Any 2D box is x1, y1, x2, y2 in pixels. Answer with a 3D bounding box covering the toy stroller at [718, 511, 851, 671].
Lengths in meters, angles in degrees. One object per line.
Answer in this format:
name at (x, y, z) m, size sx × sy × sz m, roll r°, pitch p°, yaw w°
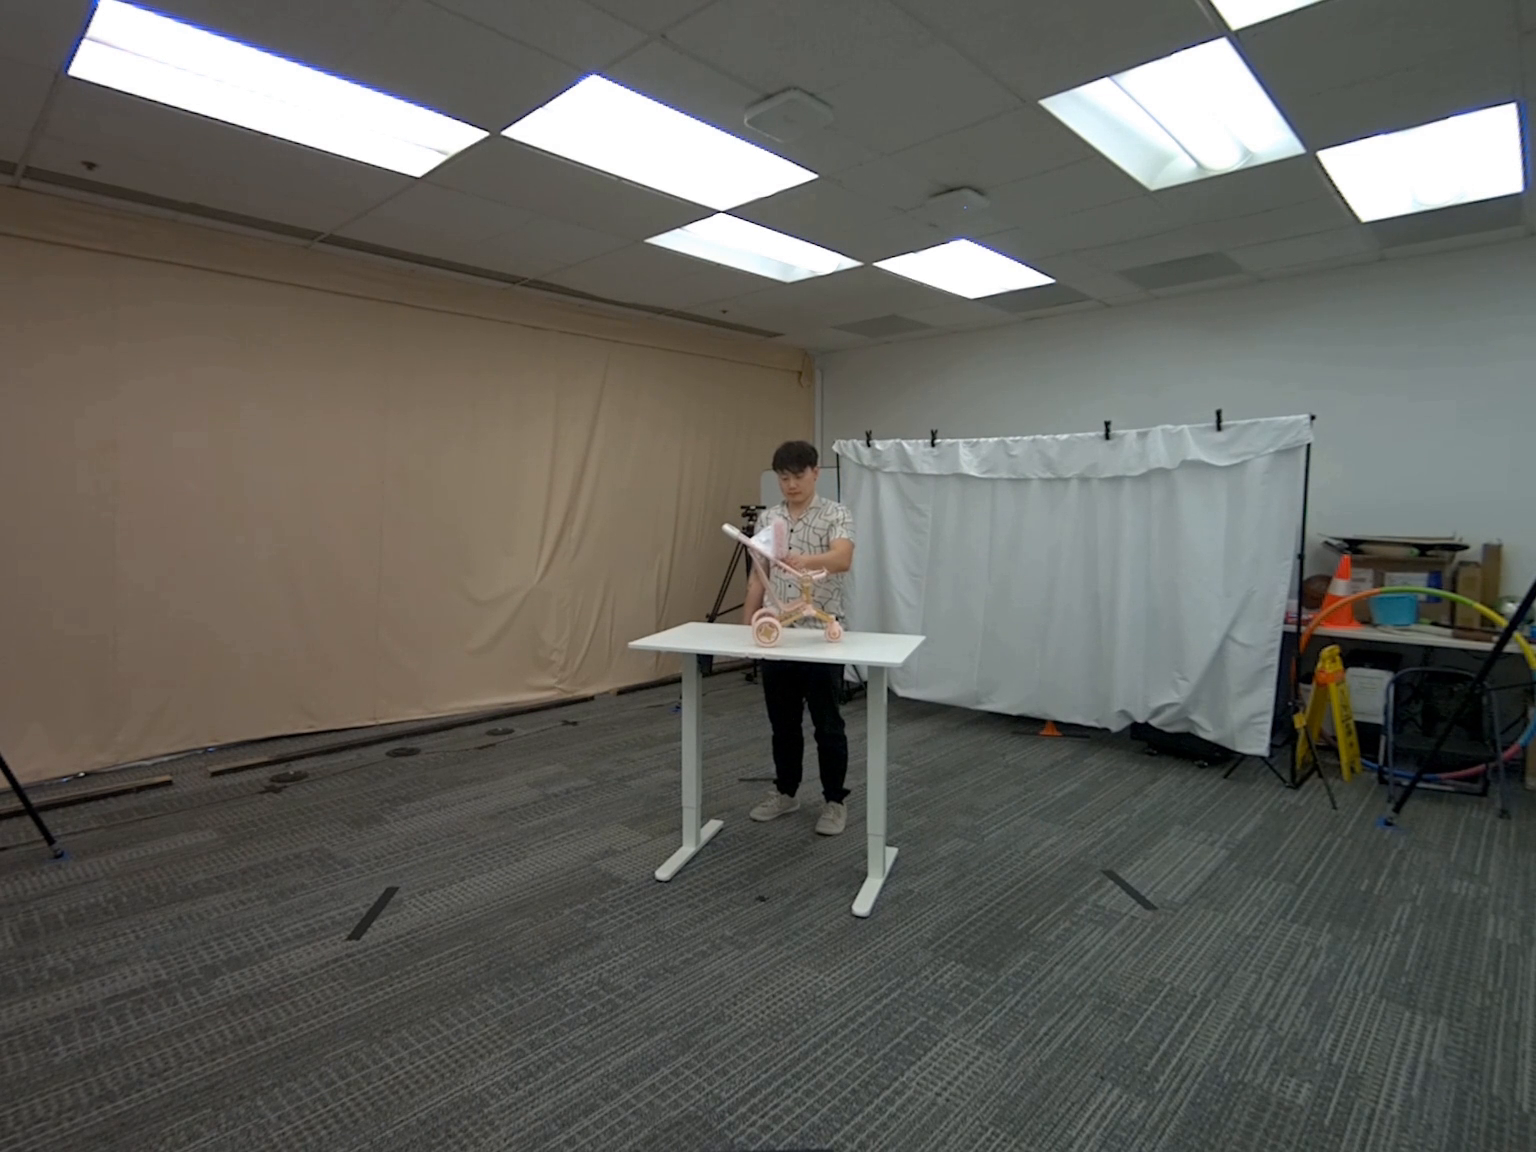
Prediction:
toy stroller at (0.066, 0.020, 3.128) m, size 0.344 × 0.534 × 0.280 m, roll -14°, pitch 2°, yaw 7°
